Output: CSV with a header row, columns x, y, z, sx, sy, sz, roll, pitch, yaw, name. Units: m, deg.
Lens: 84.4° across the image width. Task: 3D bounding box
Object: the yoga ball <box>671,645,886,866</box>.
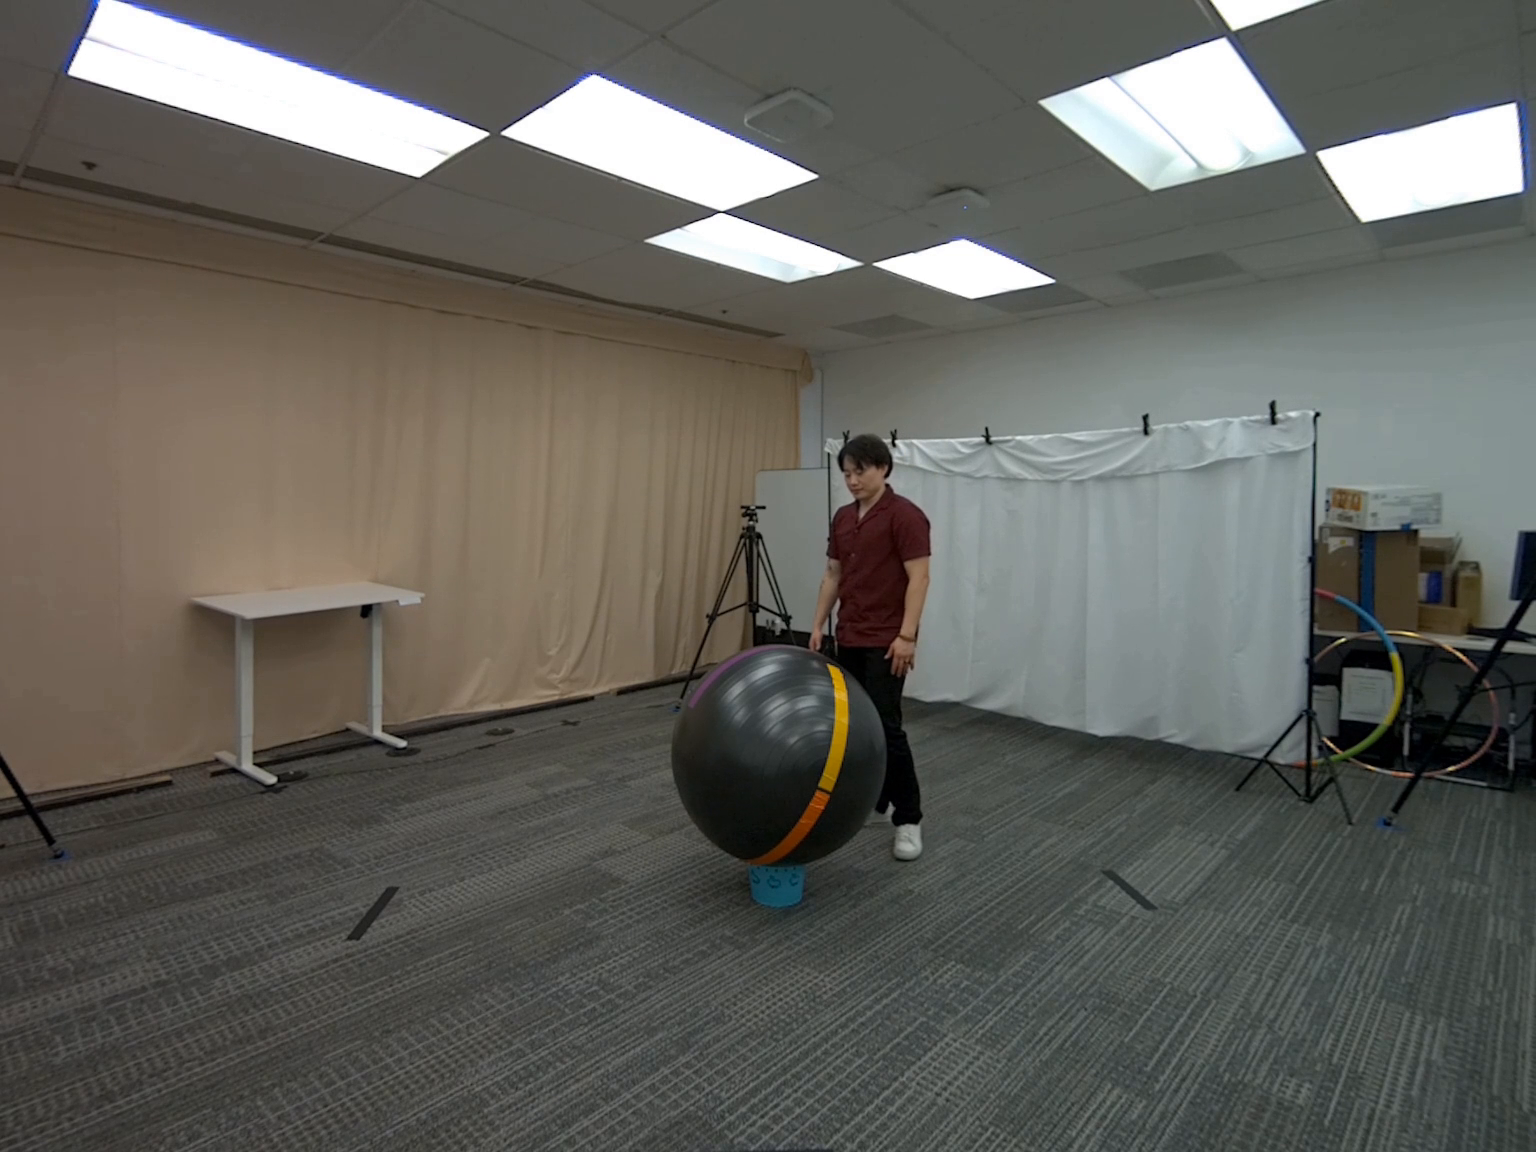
x,y,z,sx,sy,sz,roll,pitch,yaw,name
0.034,0.631,2.988,0.757,0.756,0.760,0,4,-2,yoga ball
